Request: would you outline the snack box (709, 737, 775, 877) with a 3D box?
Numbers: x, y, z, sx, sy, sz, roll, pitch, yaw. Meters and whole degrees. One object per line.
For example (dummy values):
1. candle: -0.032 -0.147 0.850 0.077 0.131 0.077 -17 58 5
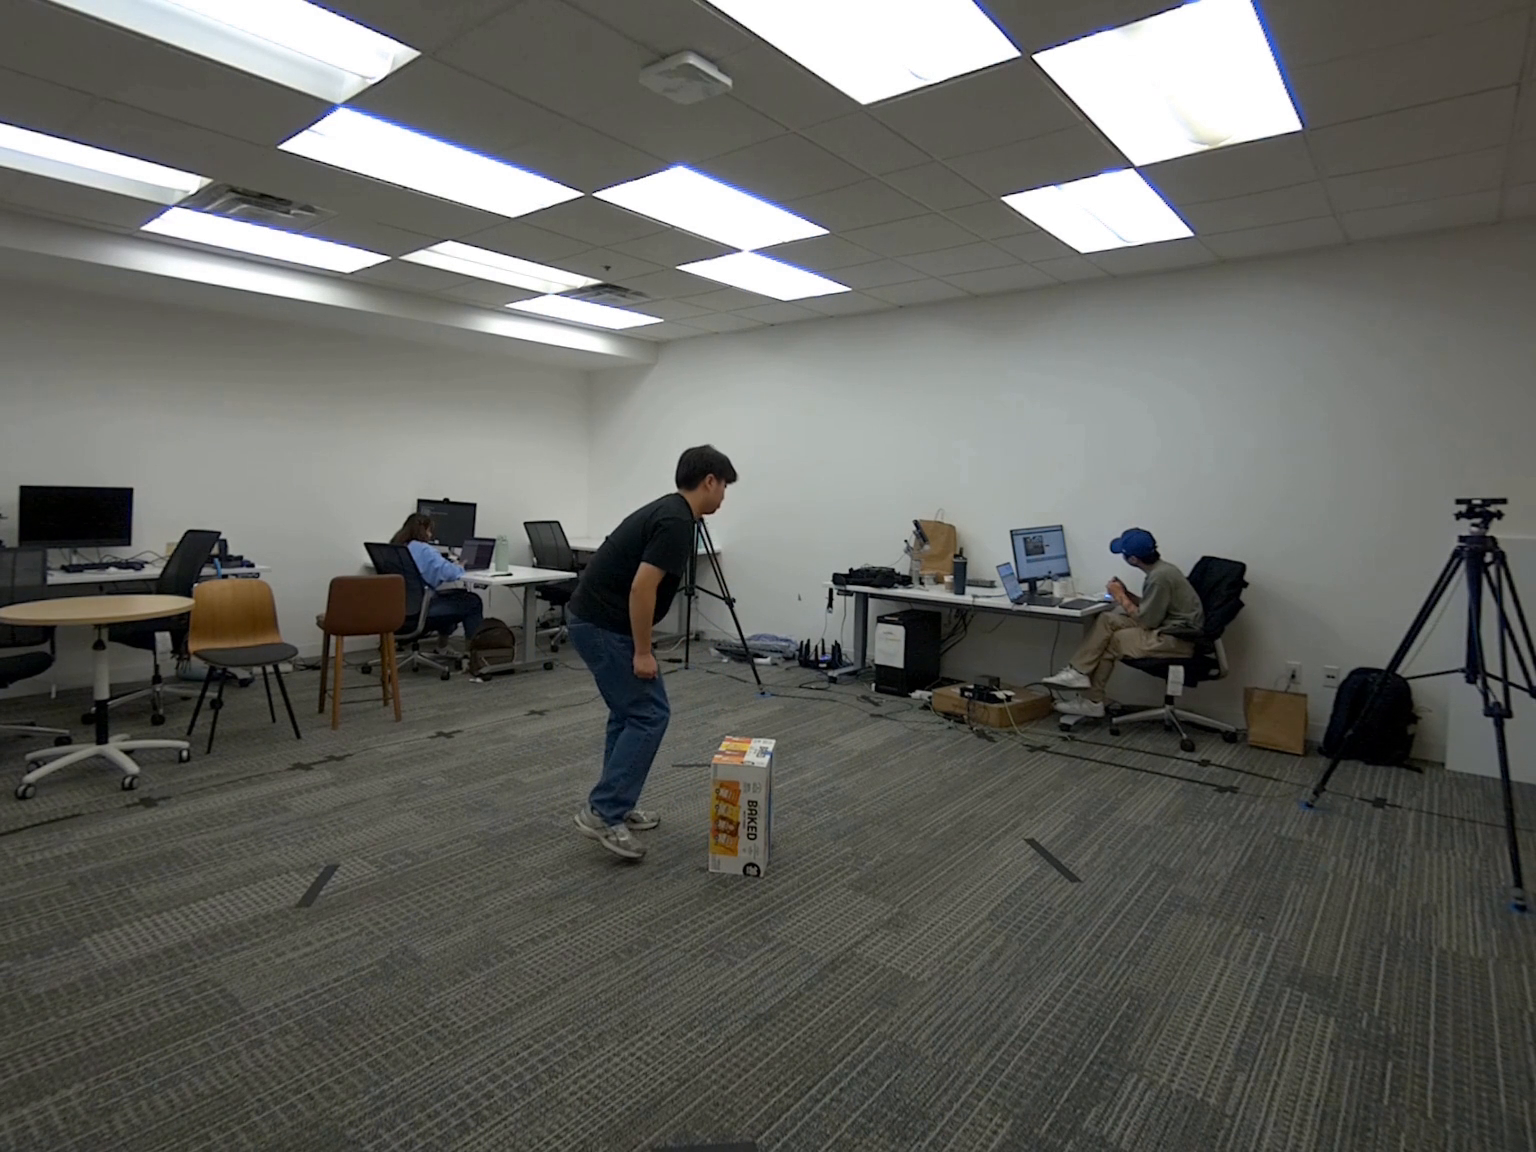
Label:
1. snack box: -0.102 0.856 3.224 0.208 0.404 0.338 2 4 8
